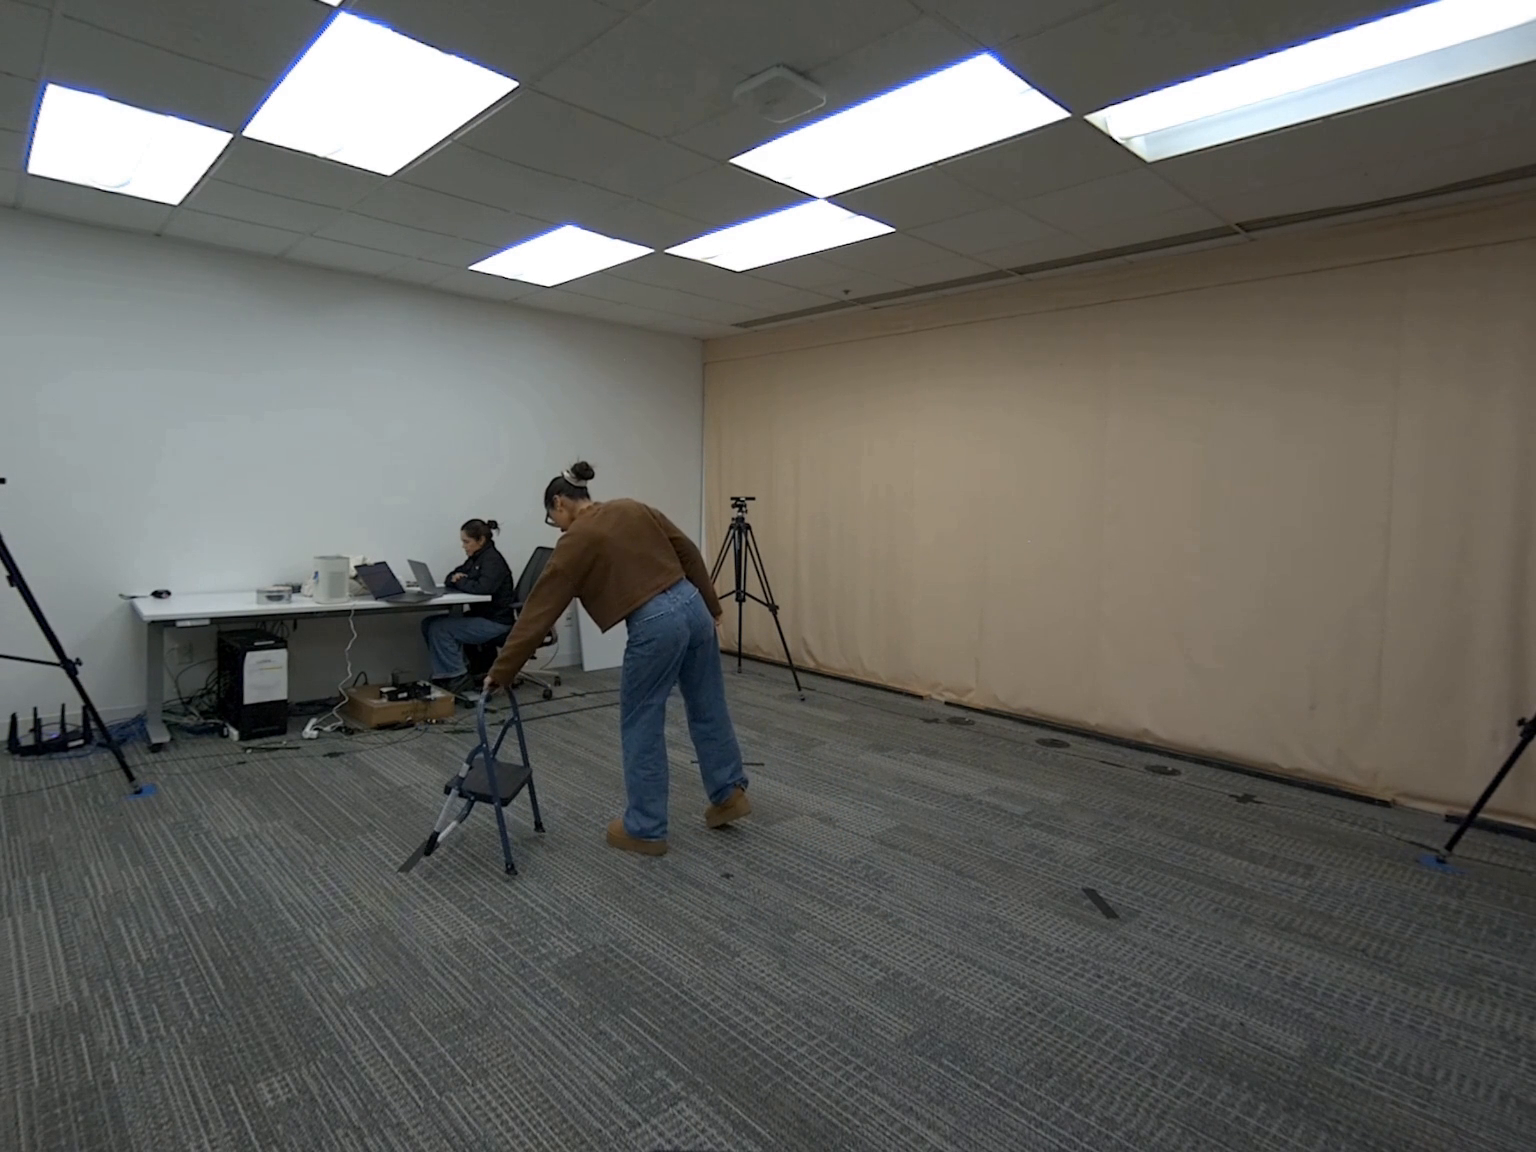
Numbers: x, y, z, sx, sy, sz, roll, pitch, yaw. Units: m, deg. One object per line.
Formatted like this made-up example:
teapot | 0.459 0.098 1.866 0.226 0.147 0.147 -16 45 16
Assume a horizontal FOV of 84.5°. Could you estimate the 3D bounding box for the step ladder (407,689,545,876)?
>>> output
step ladder | -1.037 0.732 3.214 0.349 0.605 0.431 10 3 -1
